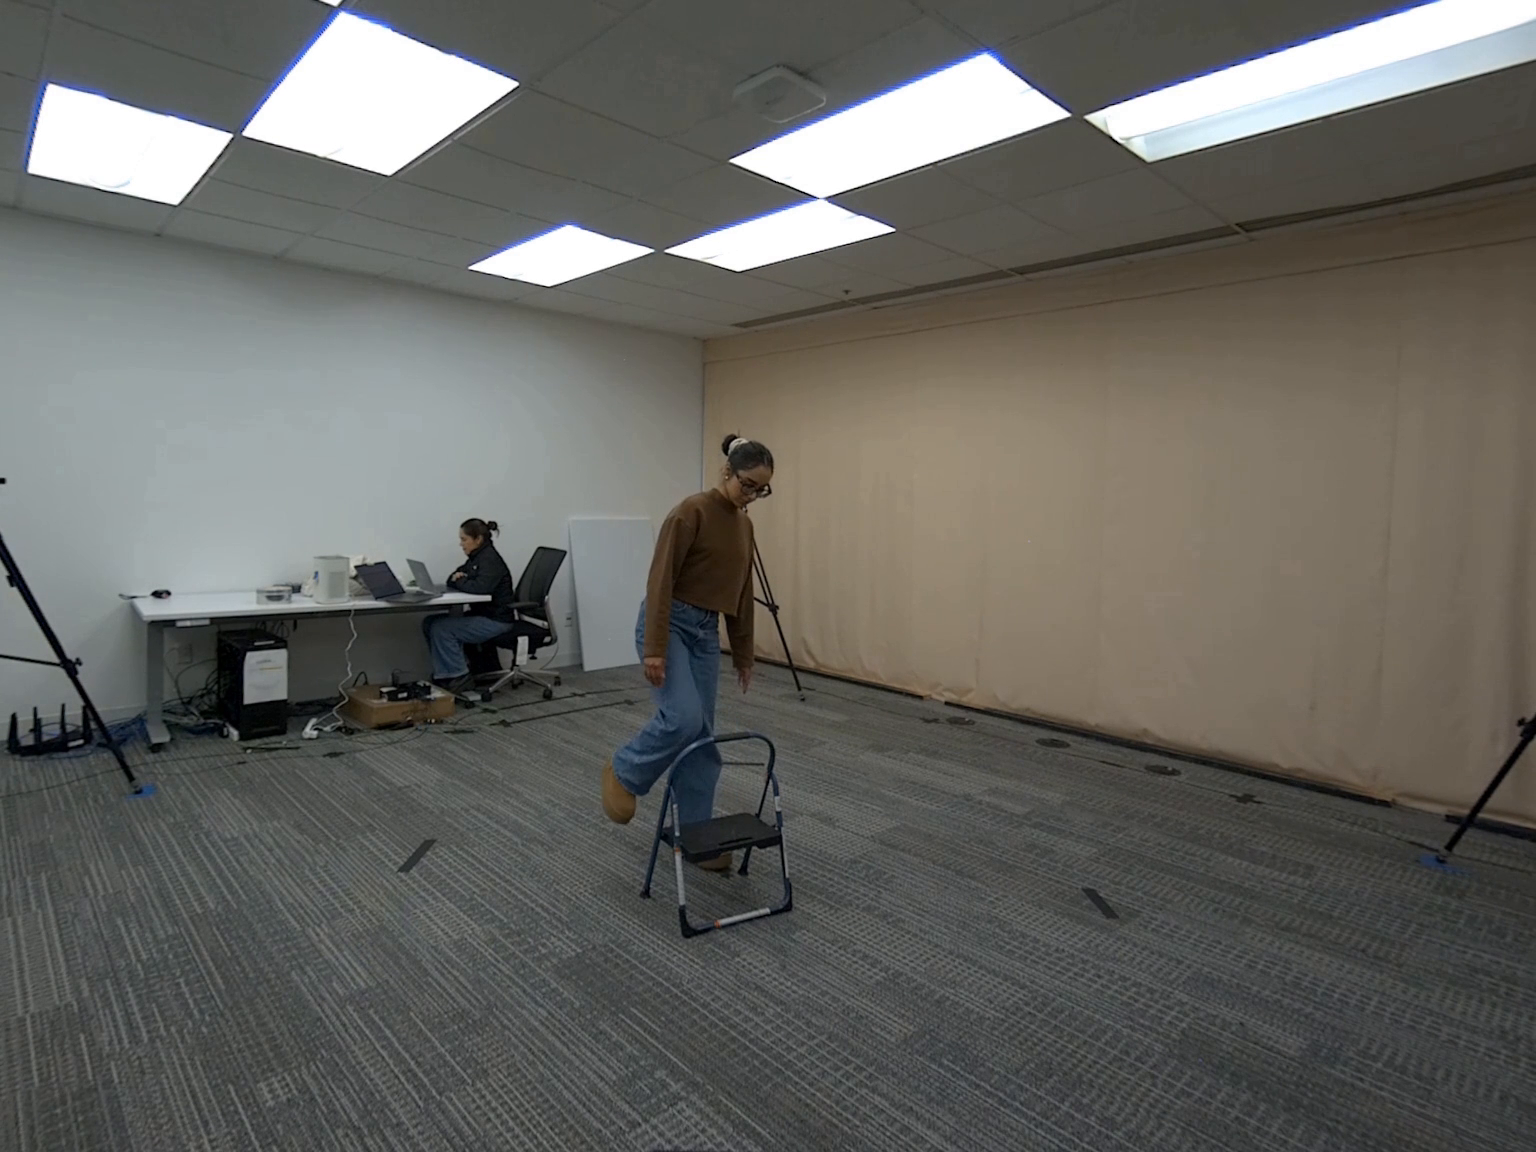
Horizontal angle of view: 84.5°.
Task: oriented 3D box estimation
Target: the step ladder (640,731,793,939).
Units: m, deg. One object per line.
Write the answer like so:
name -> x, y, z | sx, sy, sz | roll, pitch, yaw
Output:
step ladder -> -0.176, 0.822, 2.883 | 0.422, 0.605, 0.357 | -1, 4, -32
